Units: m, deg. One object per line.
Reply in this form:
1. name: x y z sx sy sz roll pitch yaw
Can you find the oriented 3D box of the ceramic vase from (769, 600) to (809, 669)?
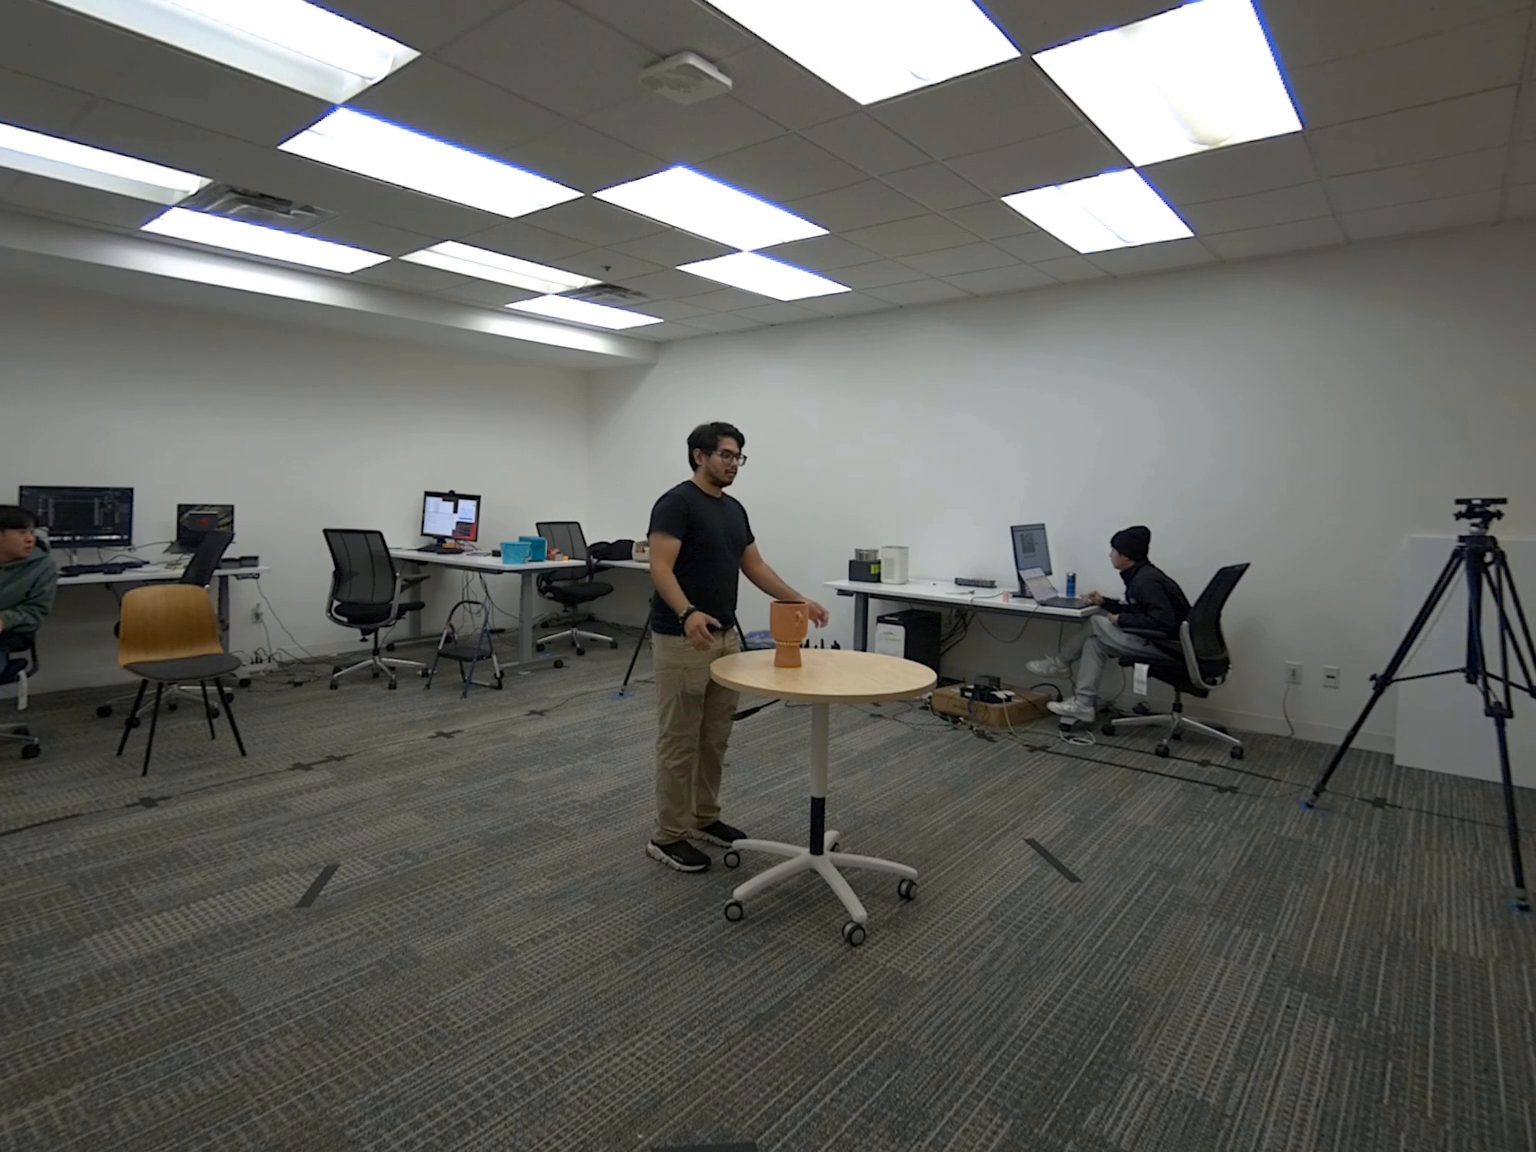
1. ceramic vase: 0.065 0.202 2.961 0.137 0.219 0.156 1 3 16
